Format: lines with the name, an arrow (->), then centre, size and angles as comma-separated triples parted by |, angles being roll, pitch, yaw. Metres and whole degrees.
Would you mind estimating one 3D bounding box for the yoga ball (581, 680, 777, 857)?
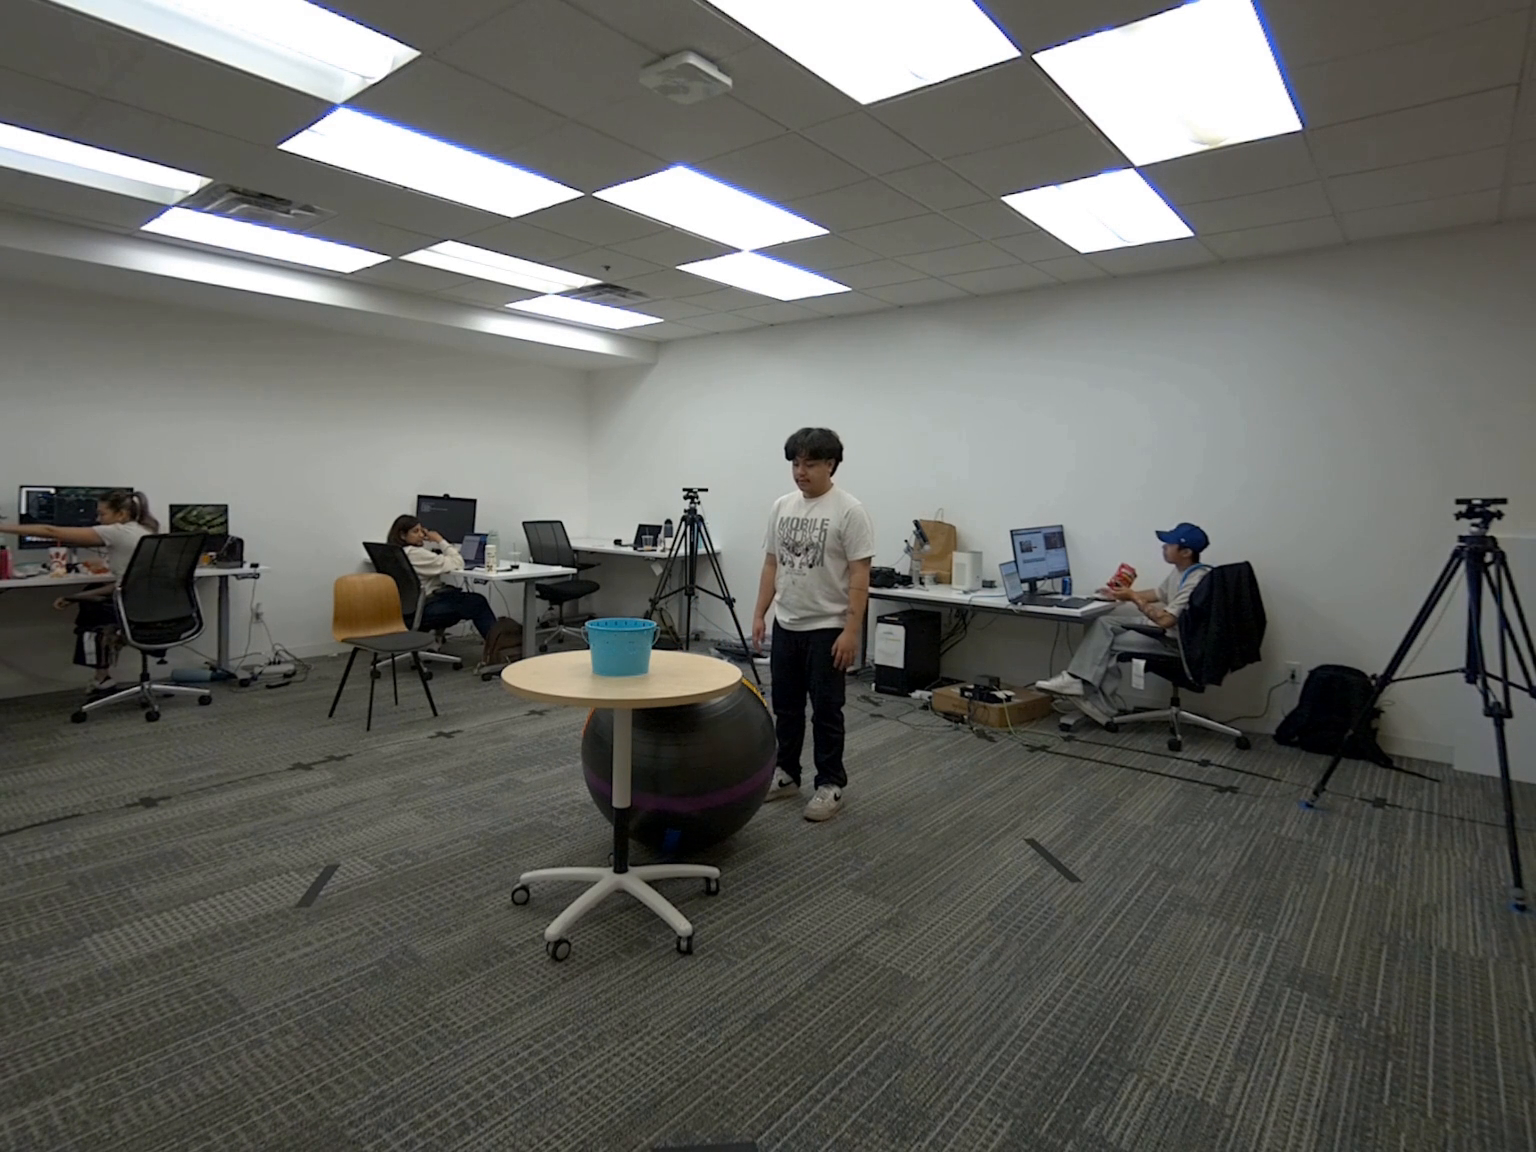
yoga ball -> -0.356, 0.674, 3.331 | 0.757, 0.755, 0.762 | 1, 4, -2
